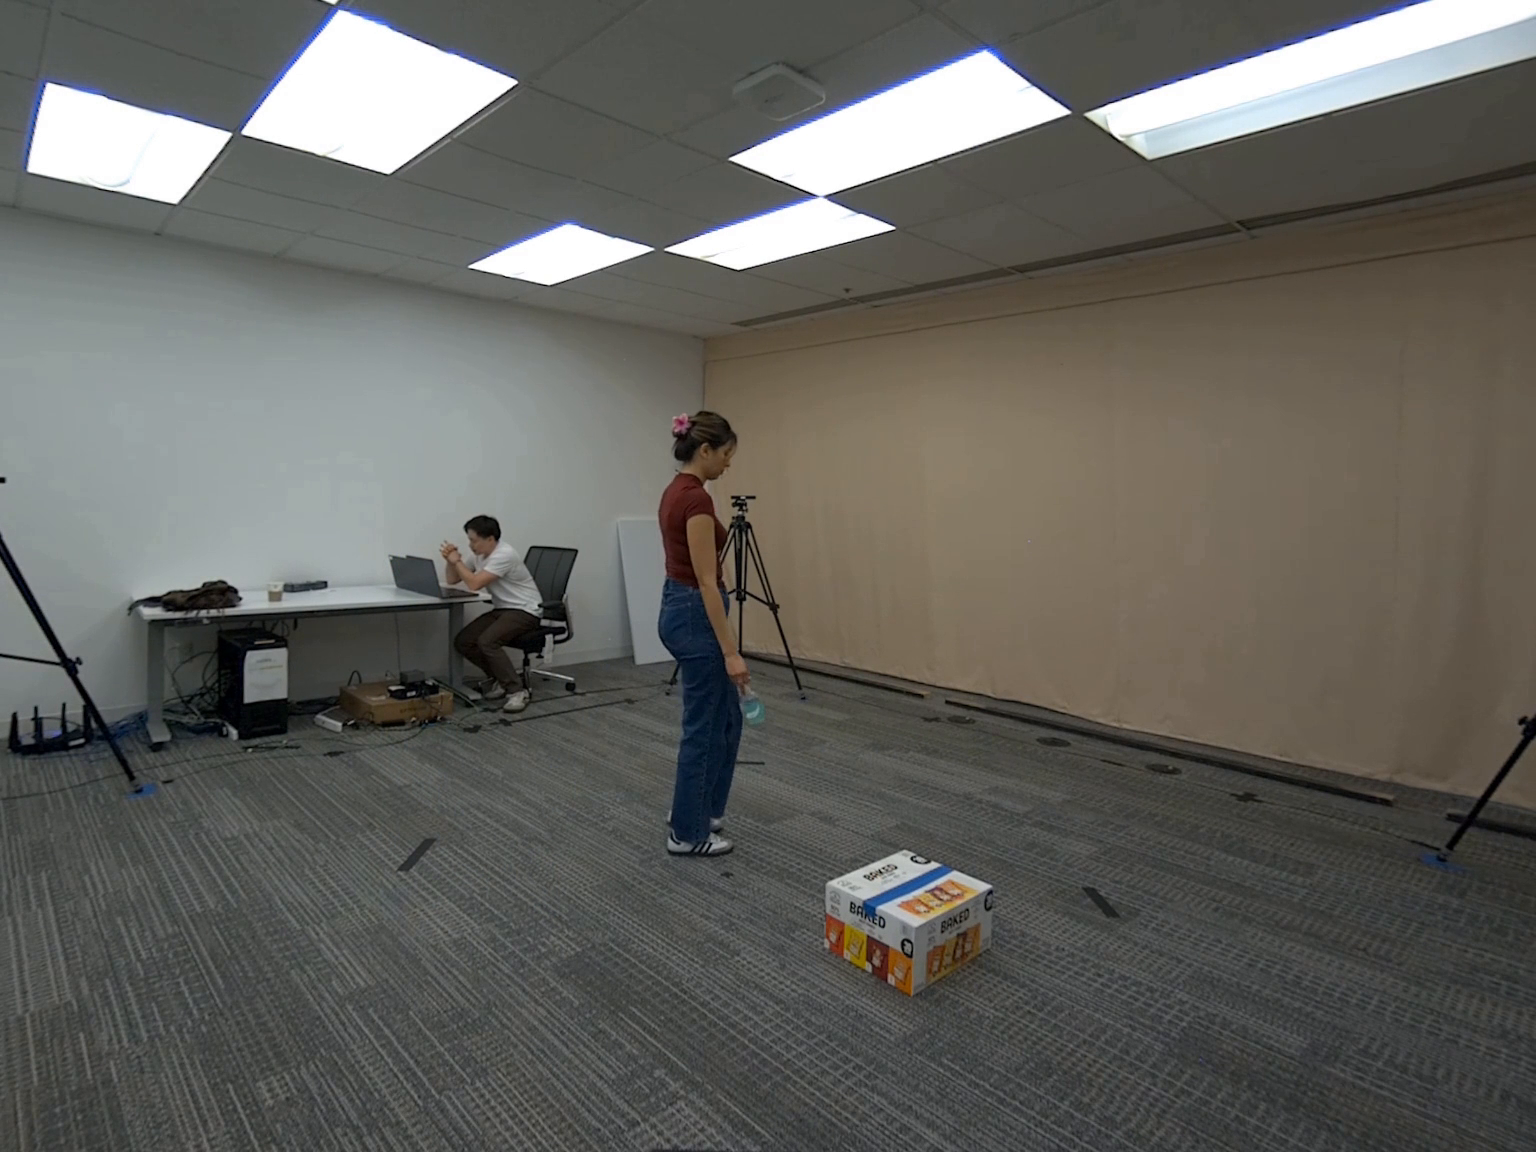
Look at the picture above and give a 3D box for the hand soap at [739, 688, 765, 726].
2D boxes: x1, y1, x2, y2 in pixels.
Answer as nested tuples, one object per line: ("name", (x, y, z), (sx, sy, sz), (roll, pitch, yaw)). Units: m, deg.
("hand soap", (-0.084, 0.452, 3.025), (0.085, 0.168, 0.043), (-14, 1, 9))
